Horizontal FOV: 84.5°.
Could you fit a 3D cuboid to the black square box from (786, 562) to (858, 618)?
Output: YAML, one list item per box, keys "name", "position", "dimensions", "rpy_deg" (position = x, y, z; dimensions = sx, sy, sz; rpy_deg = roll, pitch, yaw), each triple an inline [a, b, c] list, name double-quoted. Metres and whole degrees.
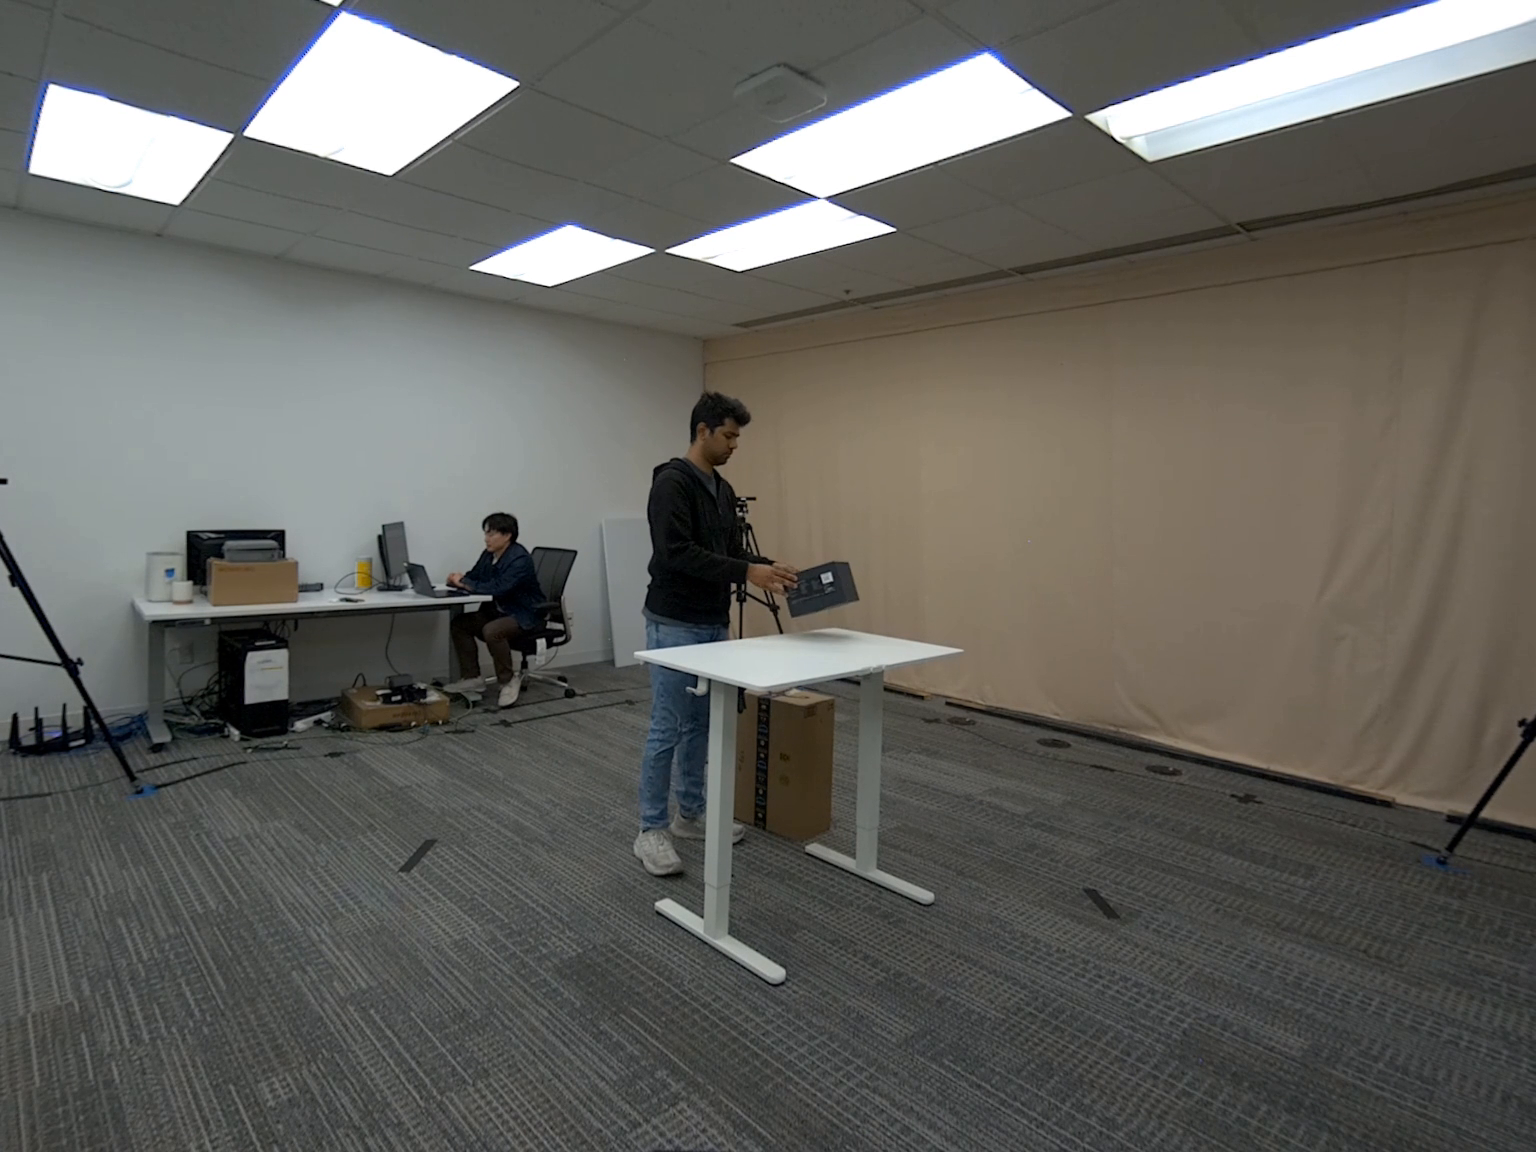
- name: "black square box"
  position: [0.181, 0.045, 3.170]
  dimensions: [0.219, 0.156, 0.225]
  rpy_deg: [-12, -4, 16]
